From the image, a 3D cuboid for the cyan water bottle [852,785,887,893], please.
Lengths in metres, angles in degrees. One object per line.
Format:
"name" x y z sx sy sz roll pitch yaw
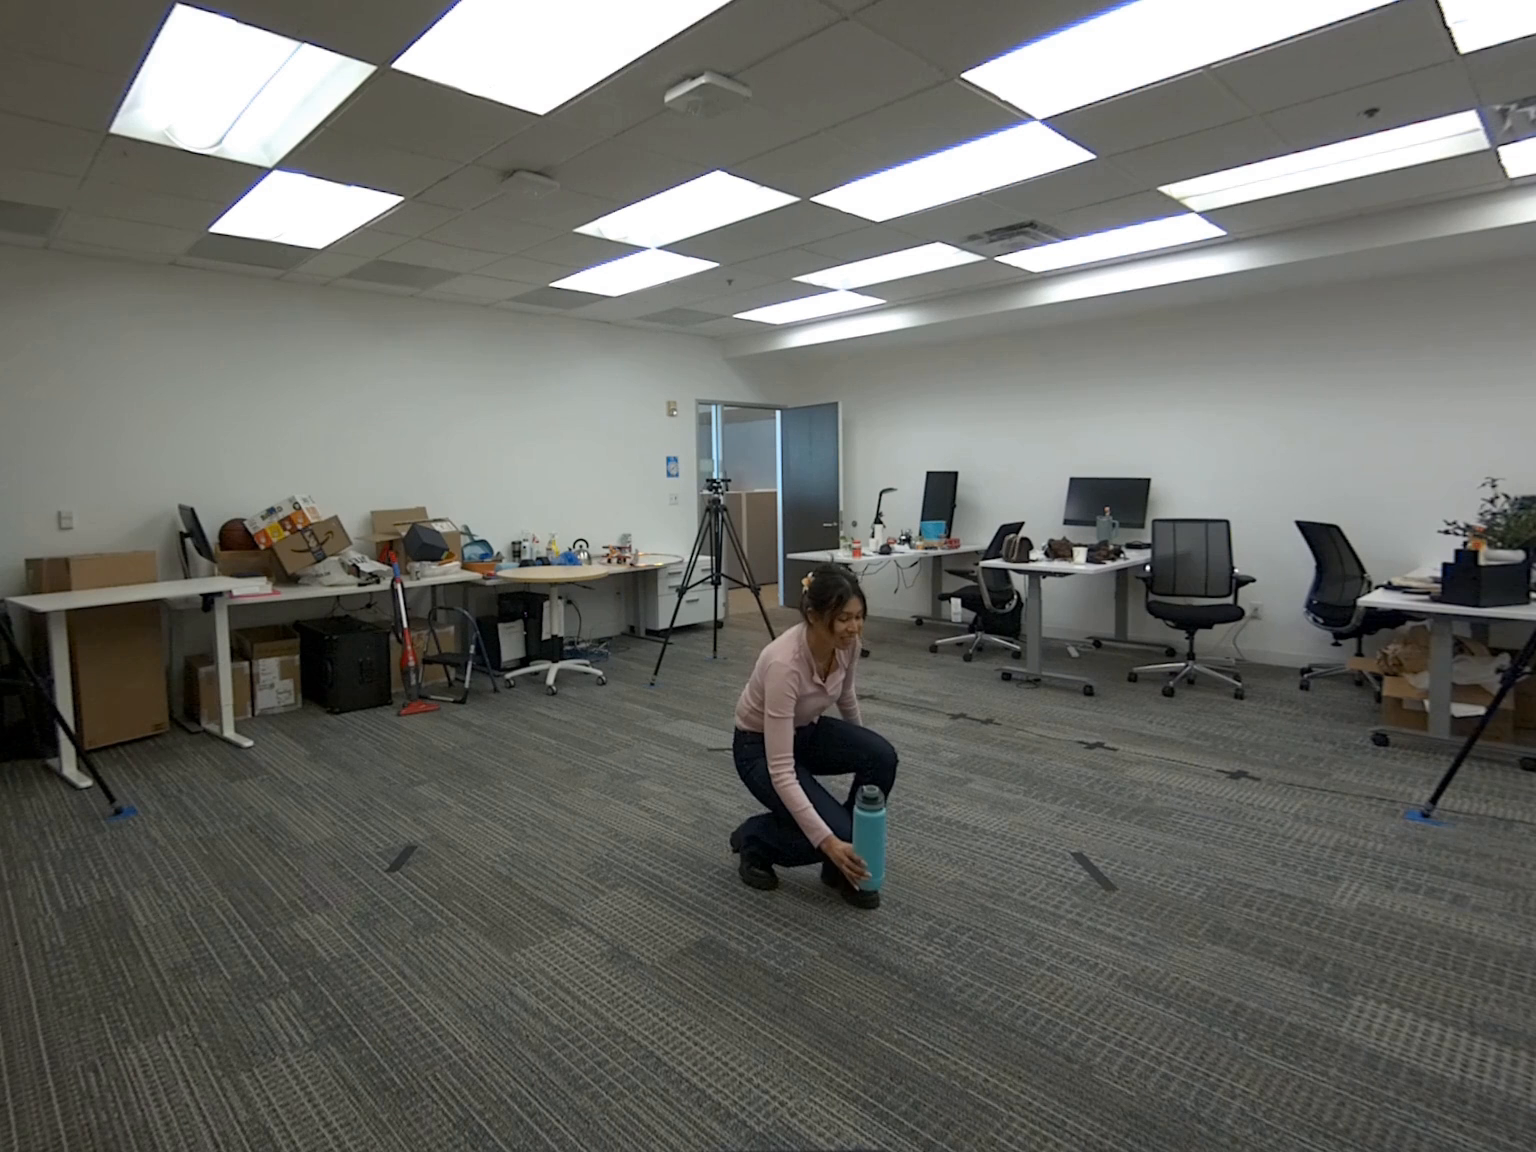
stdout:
"cyan water bottle" 0.281 0.717 2.366 0.092 0.281 0.093 -2 9 -1
